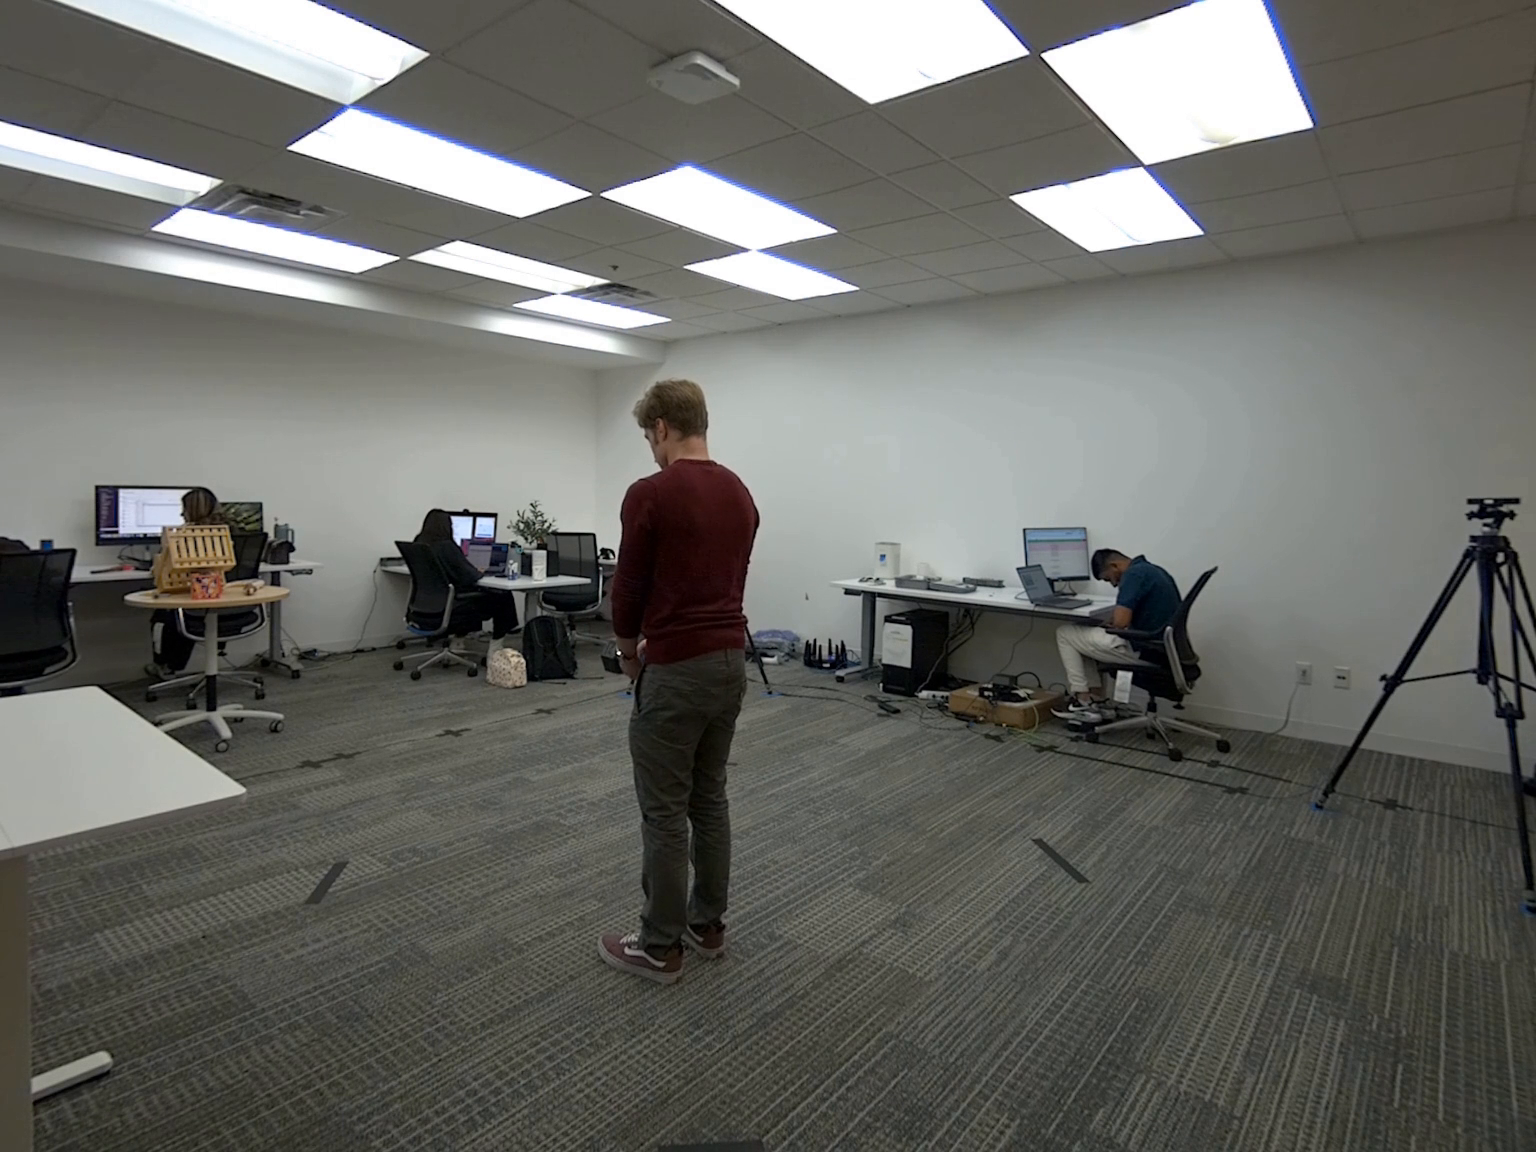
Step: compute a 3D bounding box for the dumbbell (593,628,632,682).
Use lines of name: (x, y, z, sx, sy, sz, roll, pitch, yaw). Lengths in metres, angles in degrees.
dumbbell: (-0.401, 0.271, 2.697, 0.304, 0.124, 0.104, 9, -25, 39)
